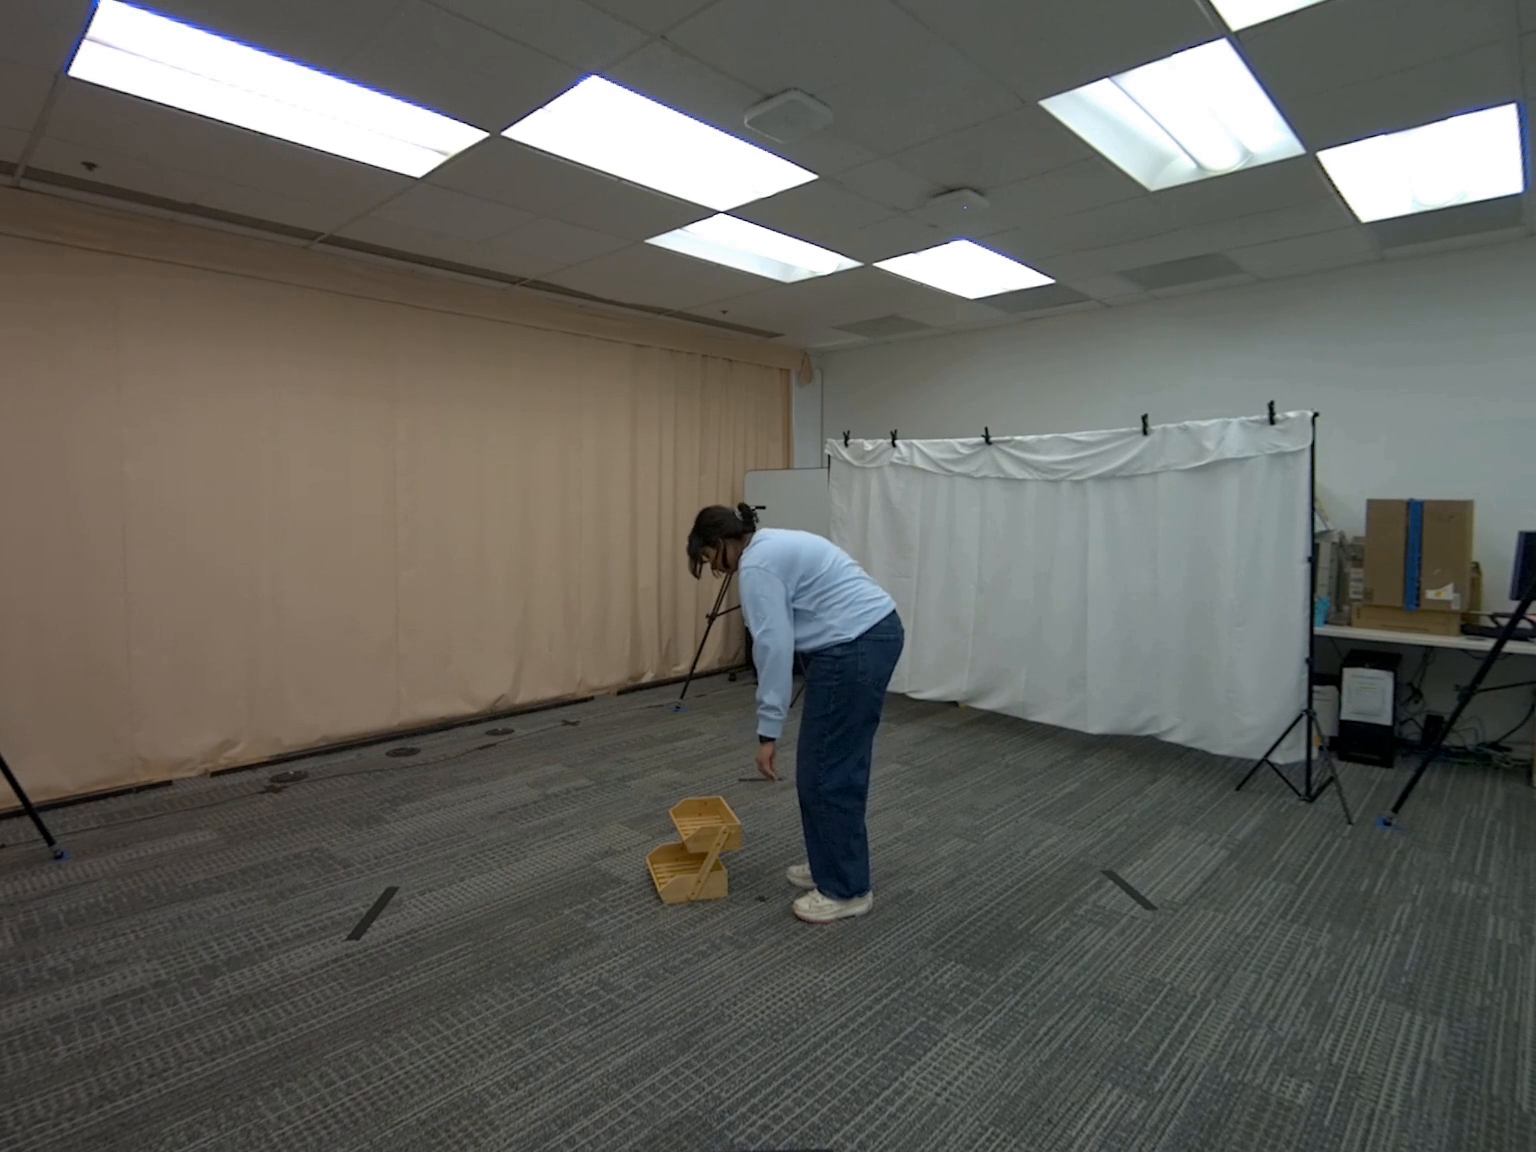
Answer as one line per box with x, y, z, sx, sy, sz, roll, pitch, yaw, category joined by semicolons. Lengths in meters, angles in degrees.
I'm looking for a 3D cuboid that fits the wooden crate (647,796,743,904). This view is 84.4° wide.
-0.284;1.000;3.119;0.297;0.273;0.330;-1;4;-16;wooden crate
